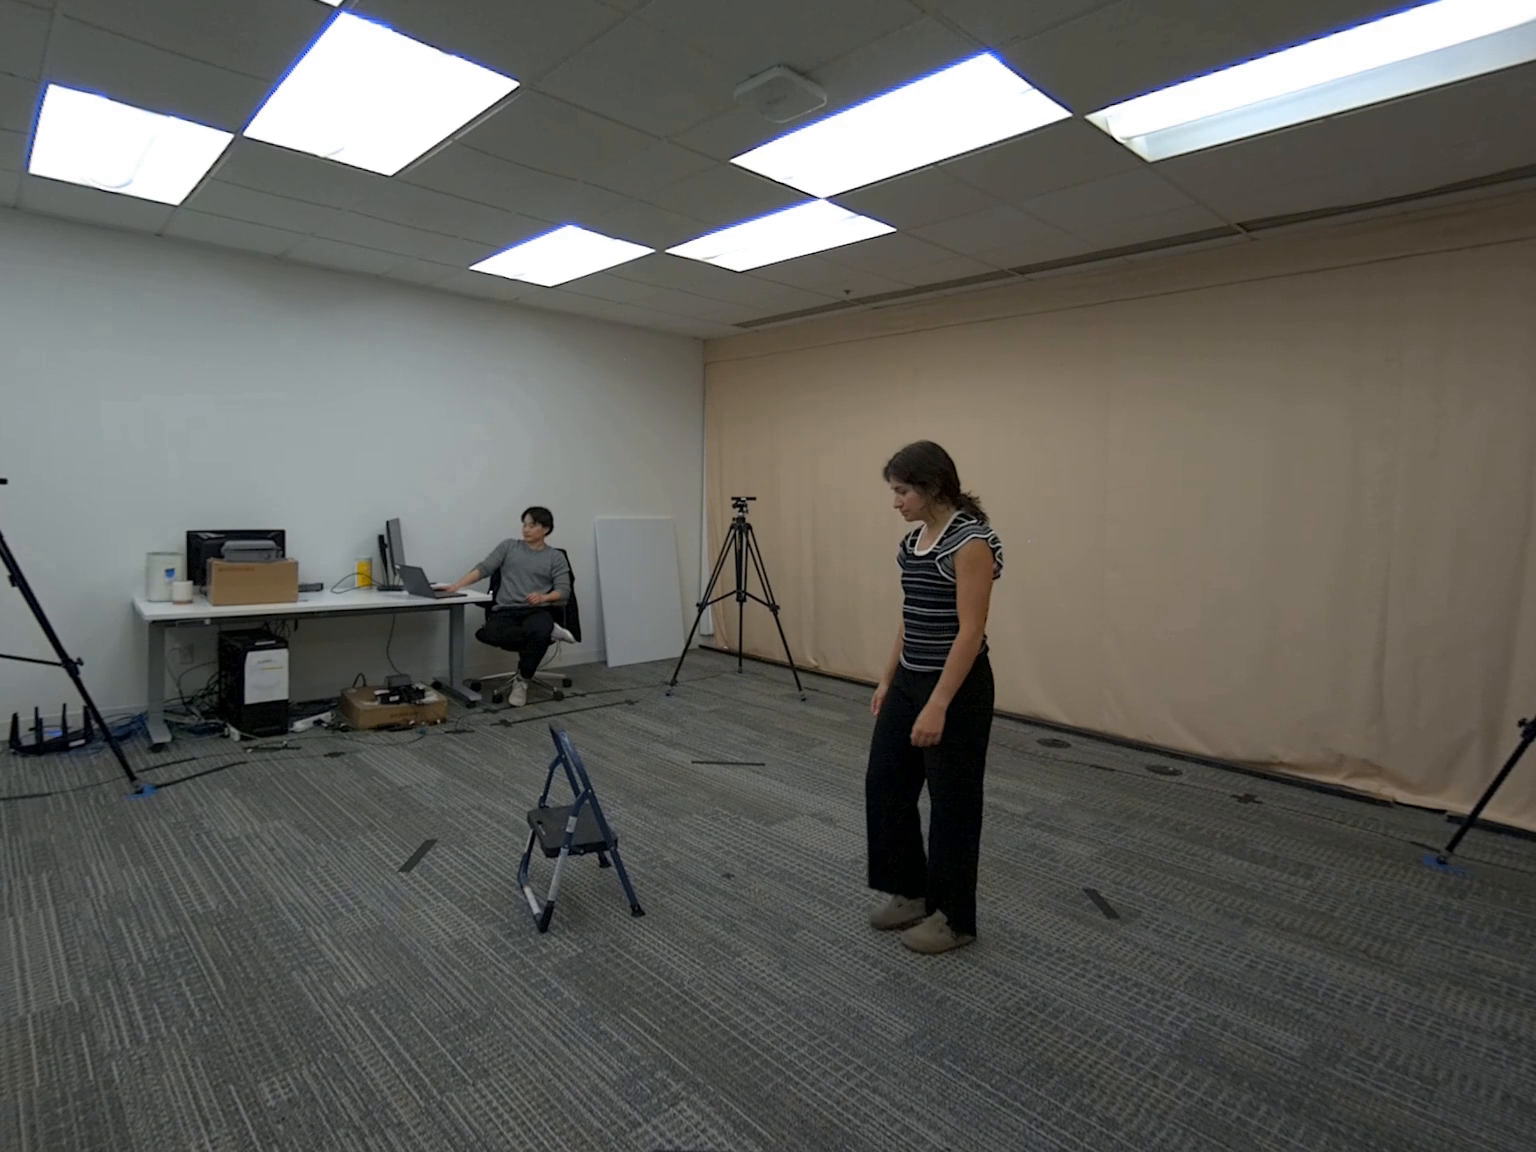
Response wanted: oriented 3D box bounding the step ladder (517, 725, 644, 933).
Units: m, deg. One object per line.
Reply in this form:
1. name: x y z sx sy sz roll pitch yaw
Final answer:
1. step ladder: -0.660 0.811 2.906 0.343 0.604 0.440 -1 4 -27
